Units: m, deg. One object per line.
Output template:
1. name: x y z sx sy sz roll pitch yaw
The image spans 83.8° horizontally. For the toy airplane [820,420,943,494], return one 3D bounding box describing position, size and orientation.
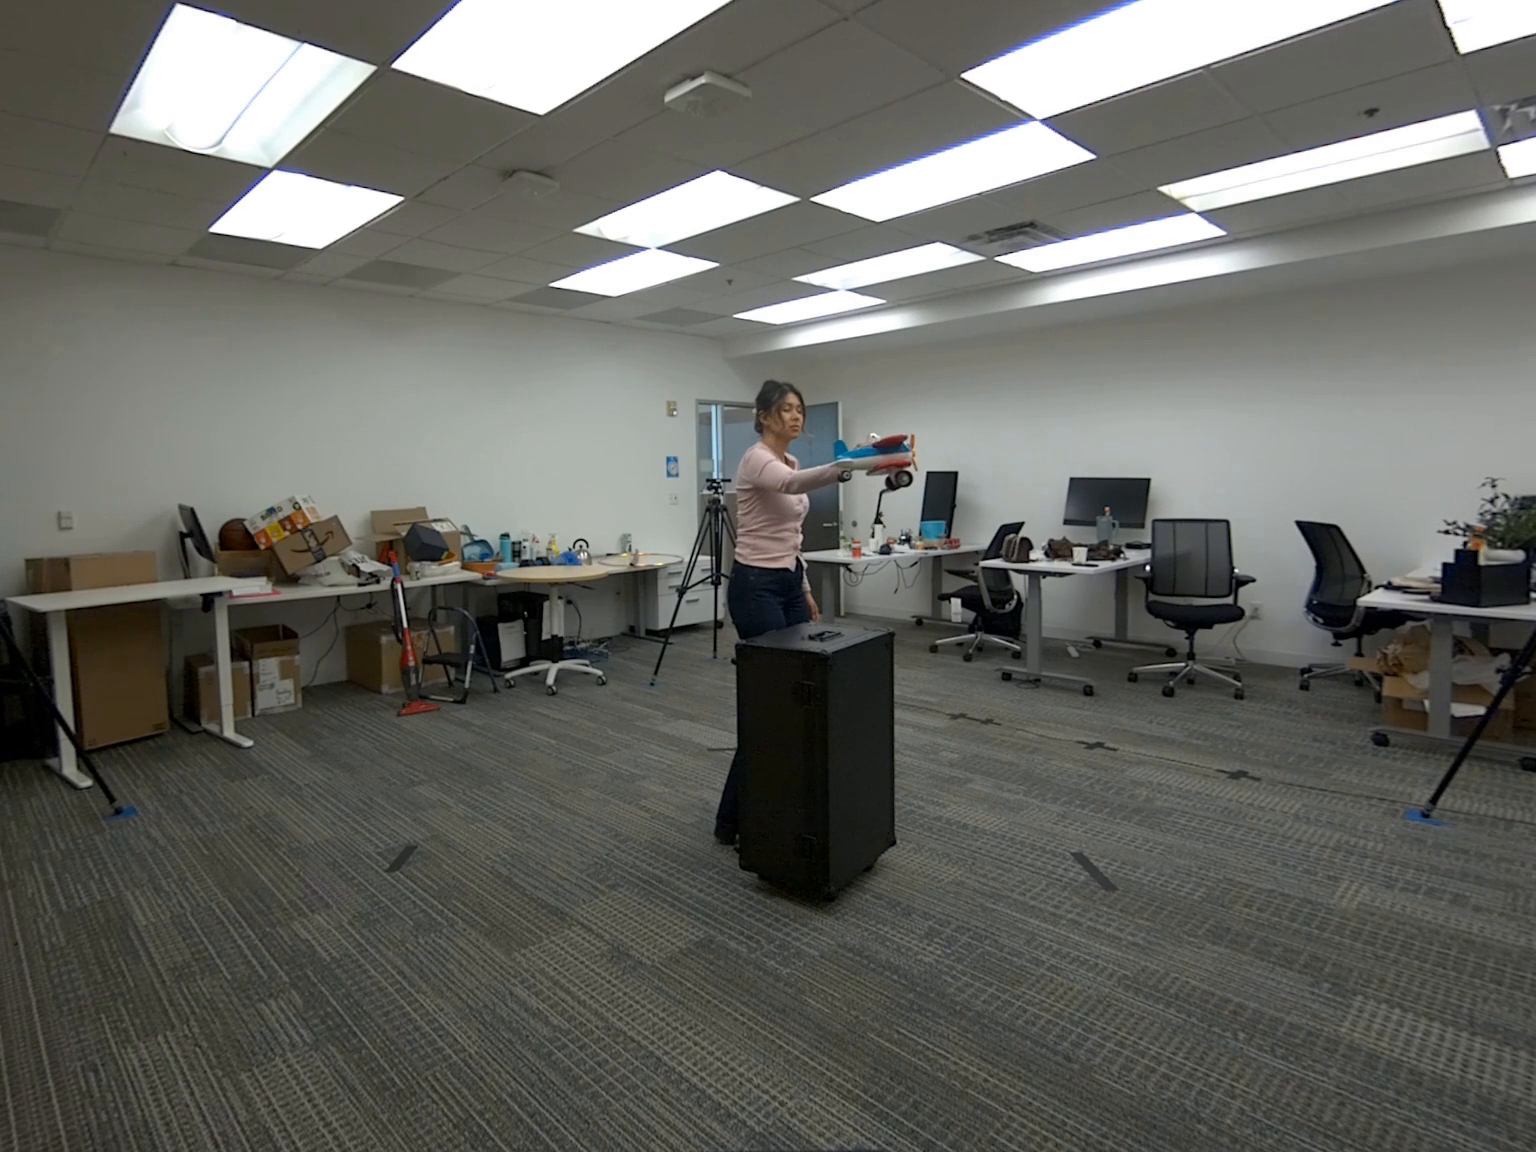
1. toy airplane: 0.343 -0.359 2.625 0.251 0.157 0.258 8 -5 -39
